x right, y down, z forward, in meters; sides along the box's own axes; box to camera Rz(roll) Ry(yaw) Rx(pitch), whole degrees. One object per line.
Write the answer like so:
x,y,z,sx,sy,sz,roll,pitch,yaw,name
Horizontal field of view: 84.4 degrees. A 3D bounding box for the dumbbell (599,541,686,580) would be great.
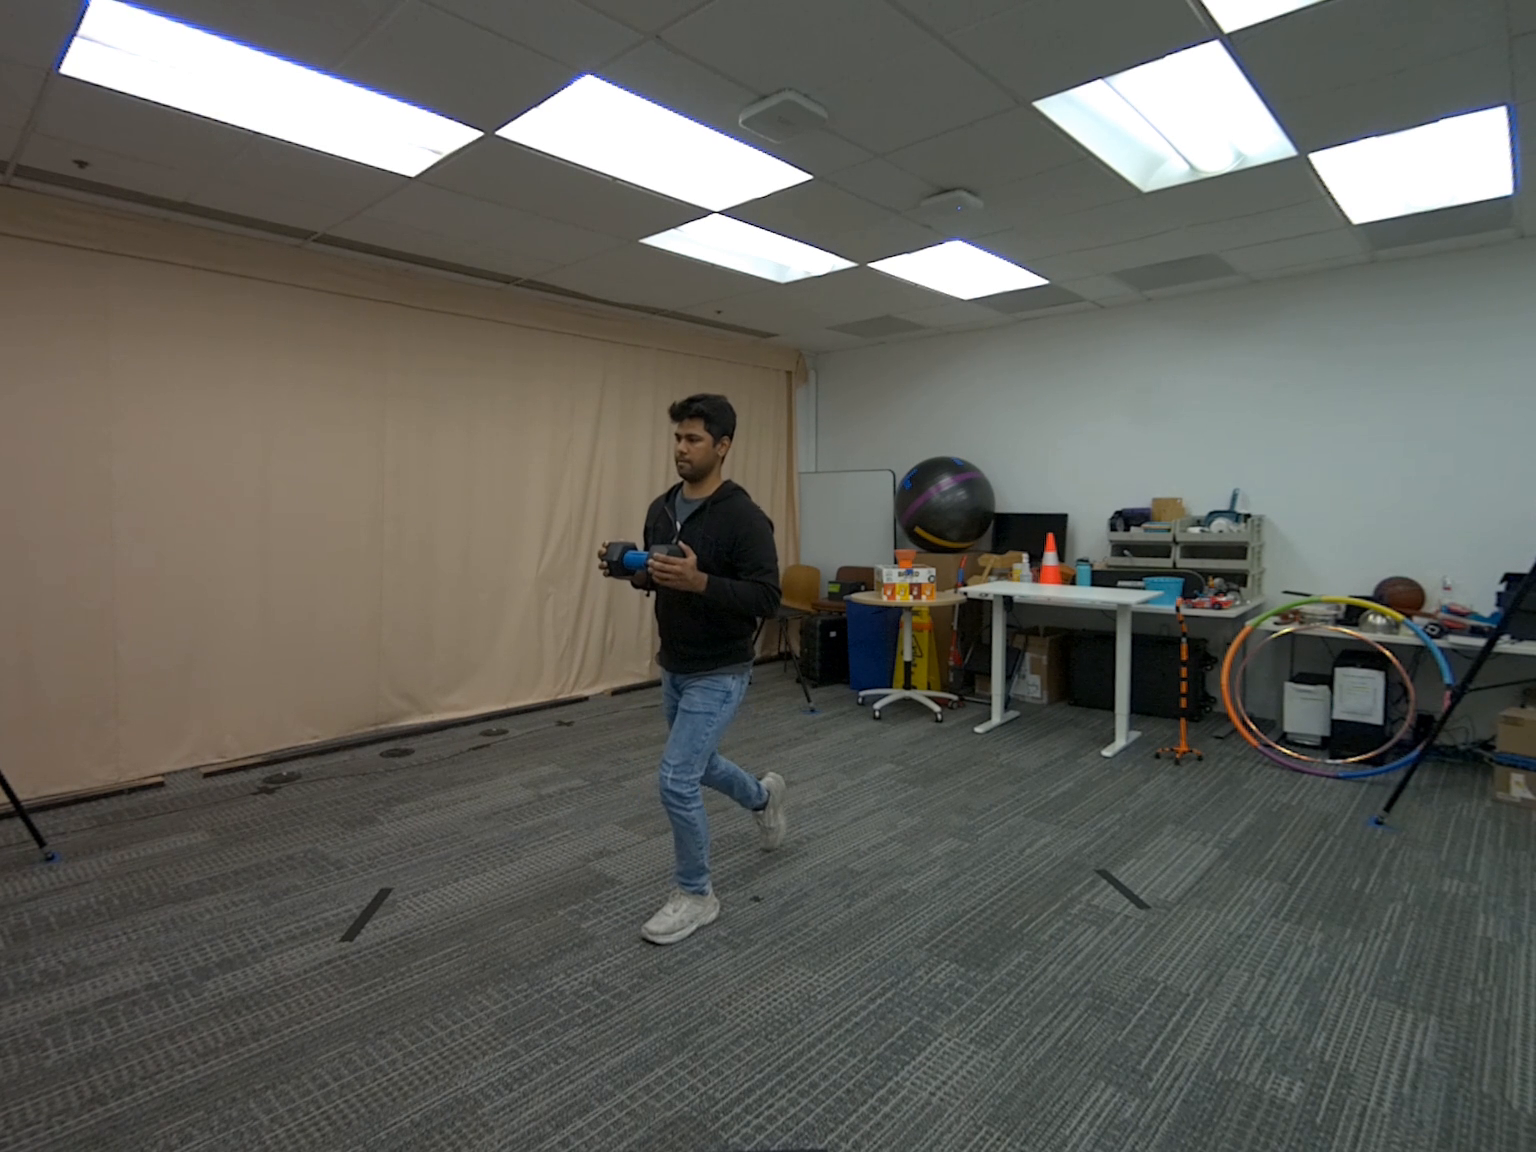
-0.375,-0.039,2.628,0.303,0.120,0.107,6,36,43,dumbbell
